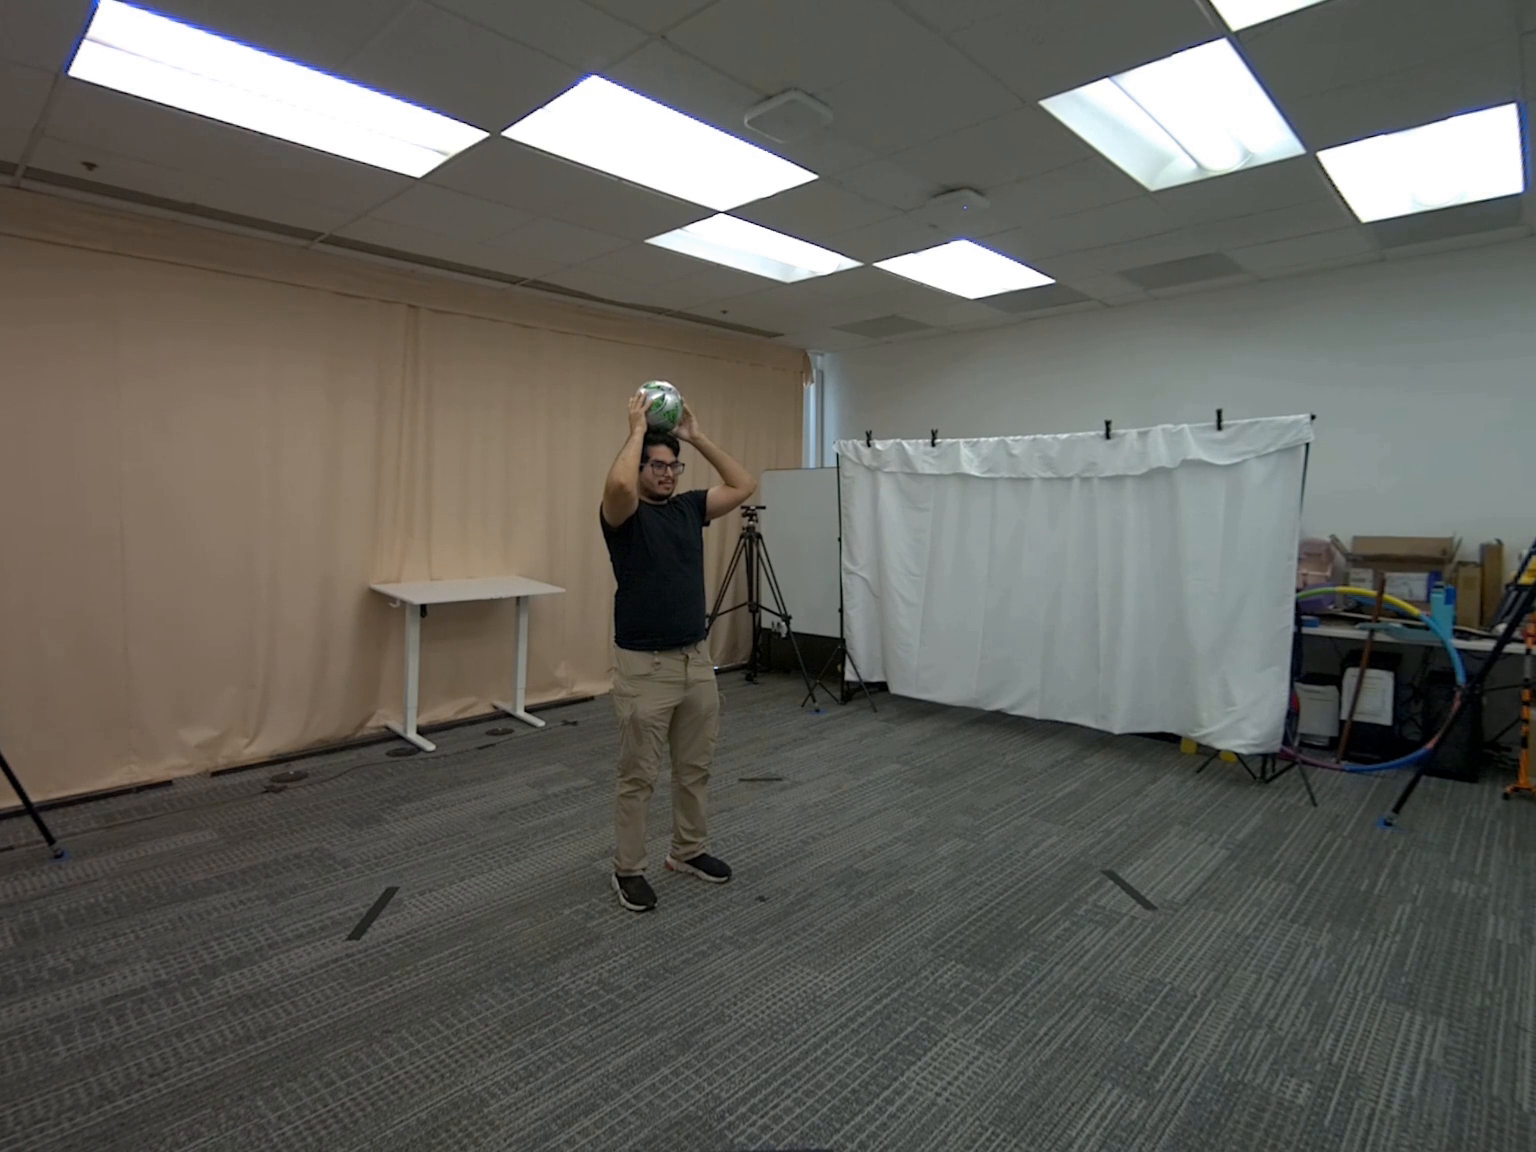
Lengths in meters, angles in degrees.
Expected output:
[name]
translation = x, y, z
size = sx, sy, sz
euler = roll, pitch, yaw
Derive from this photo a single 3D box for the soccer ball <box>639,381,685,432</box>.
[soccer ball]
translation = -0.390, -0.593, 2.971
size = 0.187, 0.187, 0.188
euler = 0, 4, -2
